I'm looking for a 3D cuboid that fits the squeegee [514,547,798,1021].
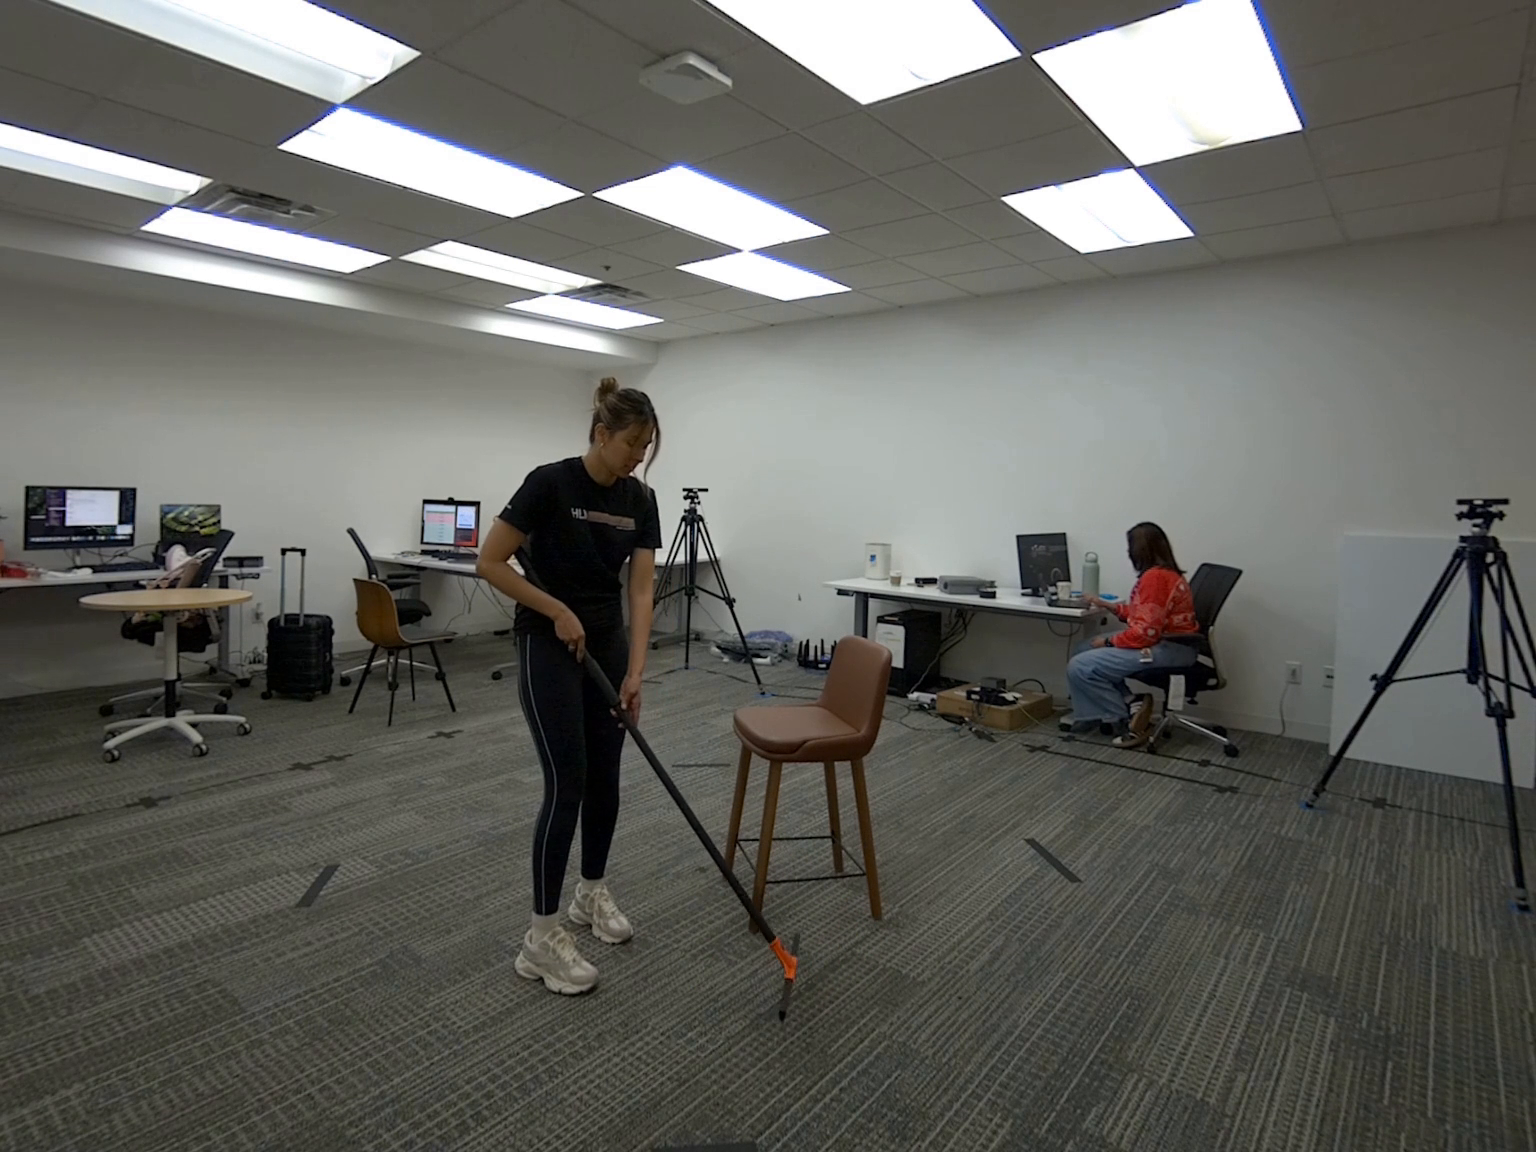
[{"bbox_3d":[-0.358,0.475,2.387,0.053,1.549,0.433,-38,-5,7],"label":"squeegee"}]
